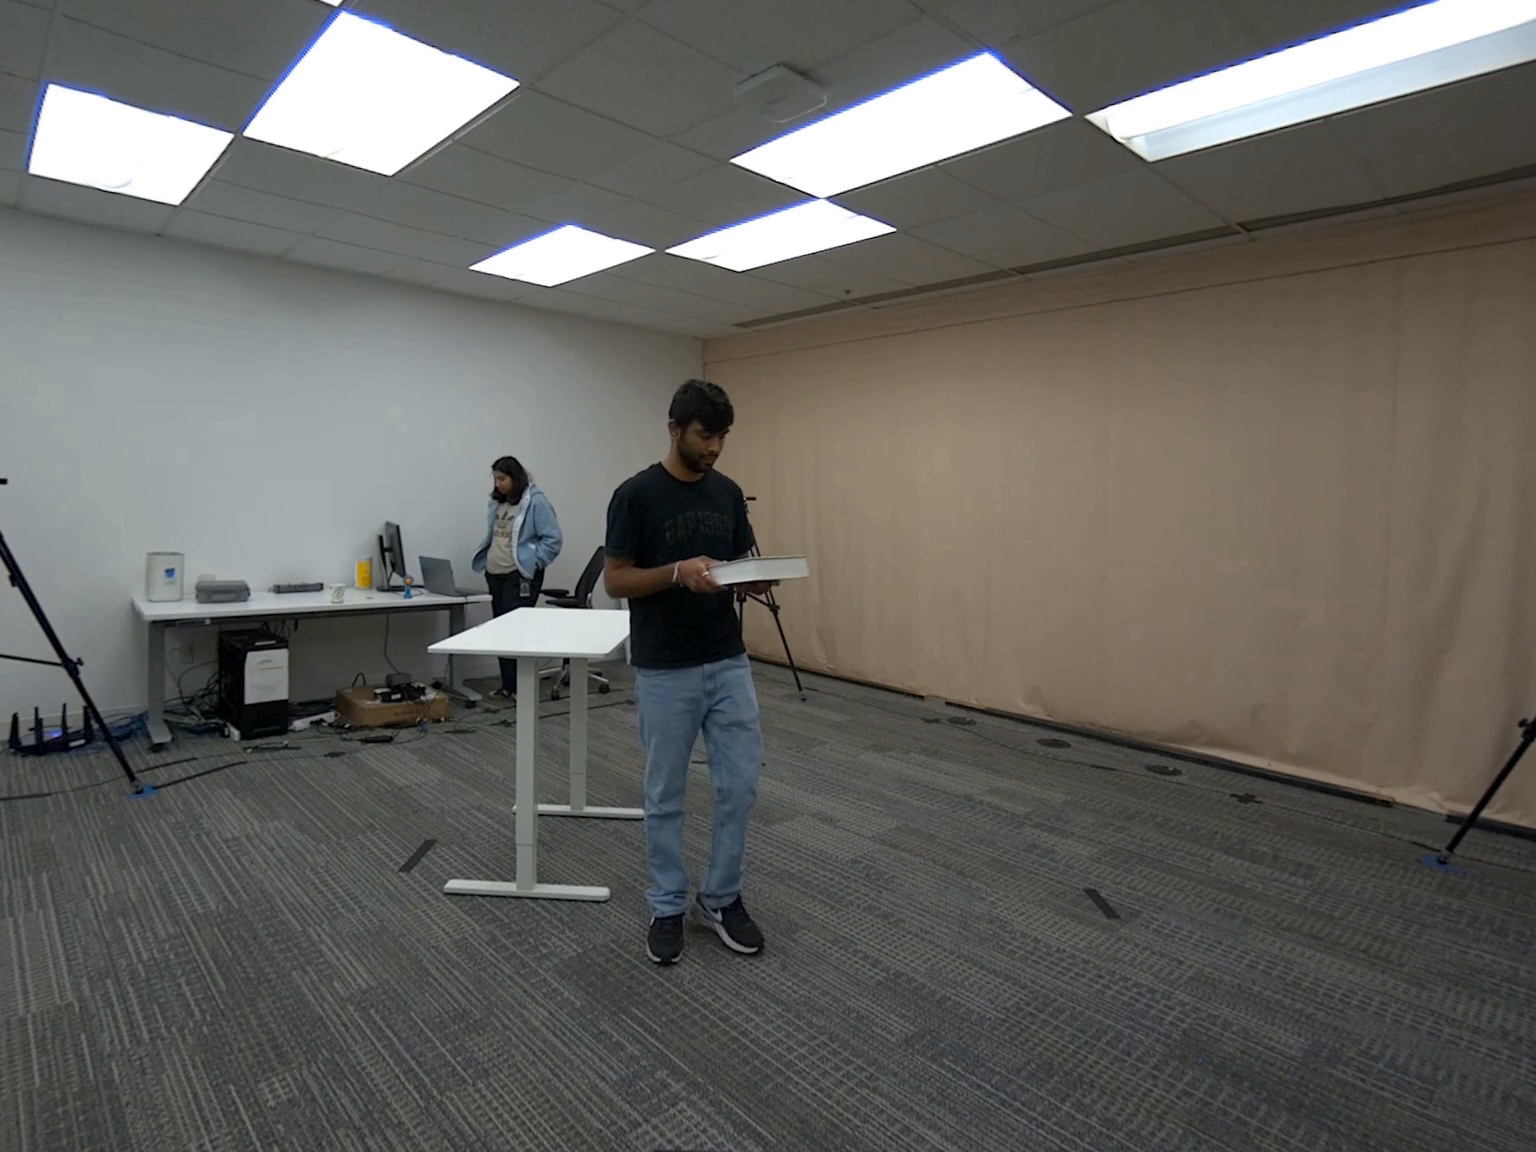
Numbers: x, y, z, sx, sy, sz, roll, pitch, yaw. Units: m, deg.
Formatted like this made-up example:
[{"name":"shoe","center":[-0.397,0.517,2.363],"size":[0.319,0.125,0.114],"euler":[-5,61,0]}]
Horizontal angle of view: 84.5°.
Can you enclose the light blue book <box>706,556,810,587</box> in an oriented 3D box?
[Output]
[{"name":"light blue book","center":[-0.054,-0.008,2.326],"size":[0.187,0.059,0.266],"euler":[-3,-3,-37]}]
